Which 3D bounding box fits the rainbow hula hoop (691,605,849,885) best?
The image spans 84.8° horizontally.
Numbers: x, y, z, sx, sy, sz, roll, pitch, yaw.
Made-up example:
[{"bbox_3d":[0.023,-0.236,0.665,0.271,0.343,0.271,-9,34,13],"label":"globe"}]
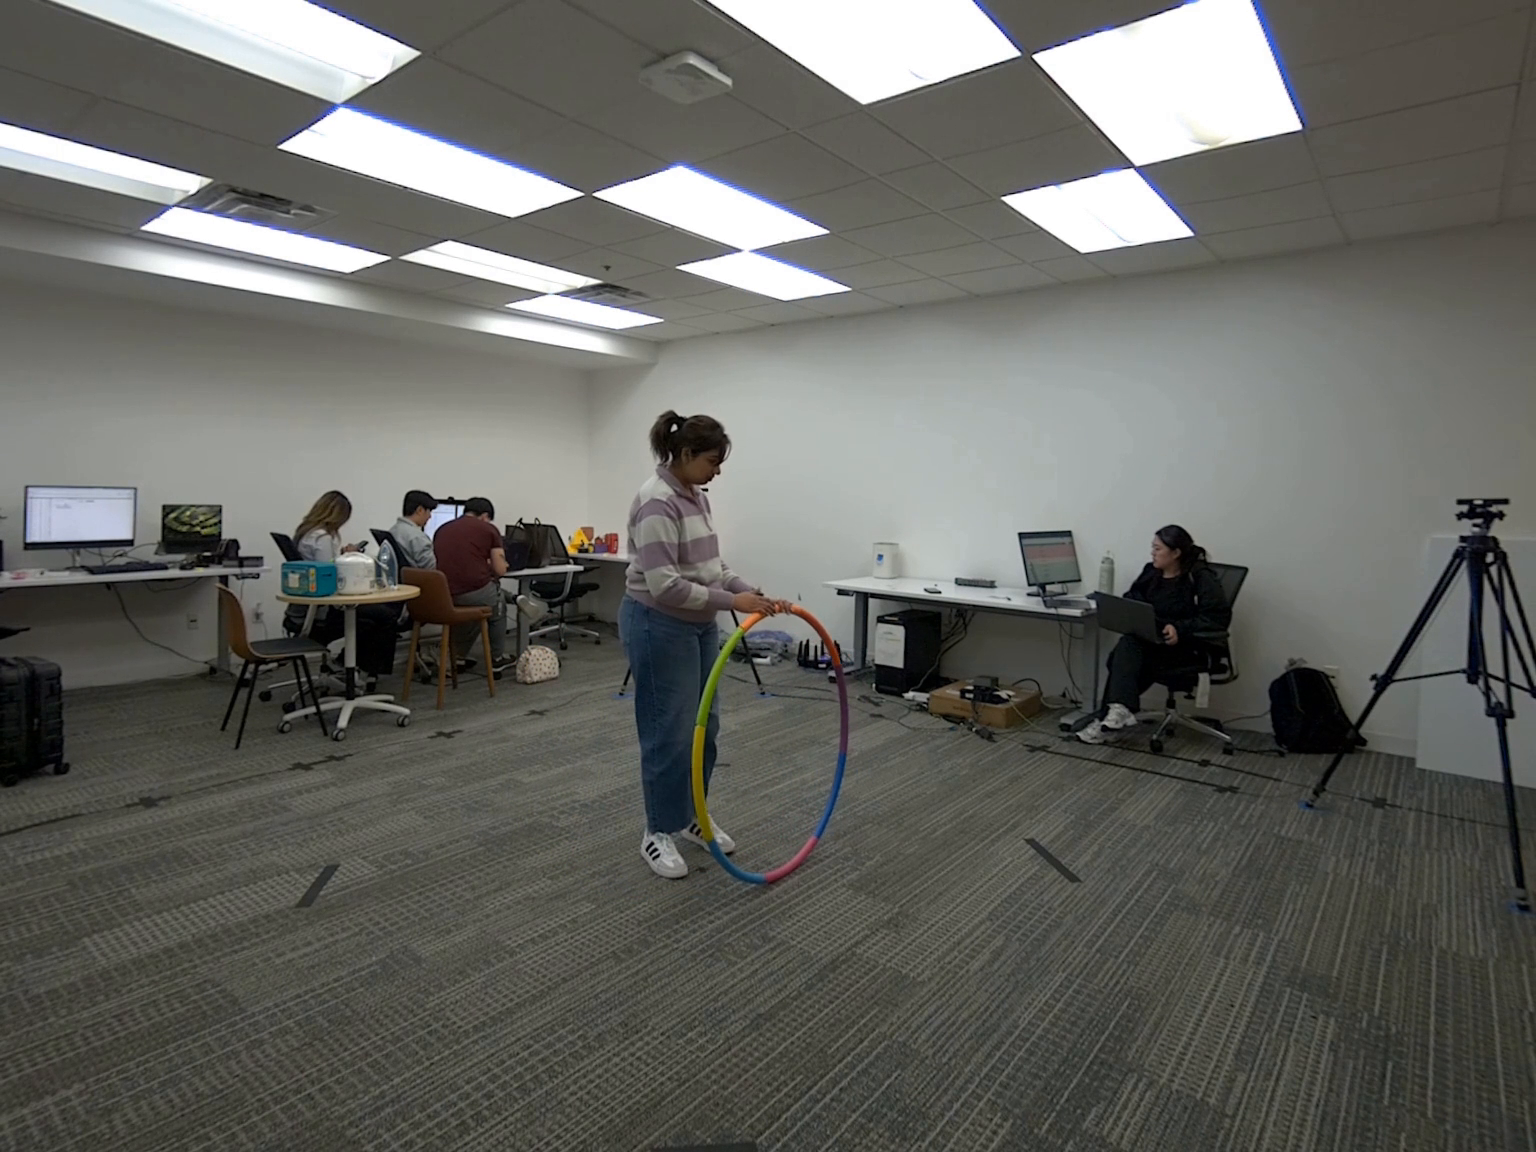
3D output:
[{"bbox_3d":[0.033,0.590,3.076,0.053,0.985,0.957,-3,1,36],"label":"rainbow hula hoop"}]
